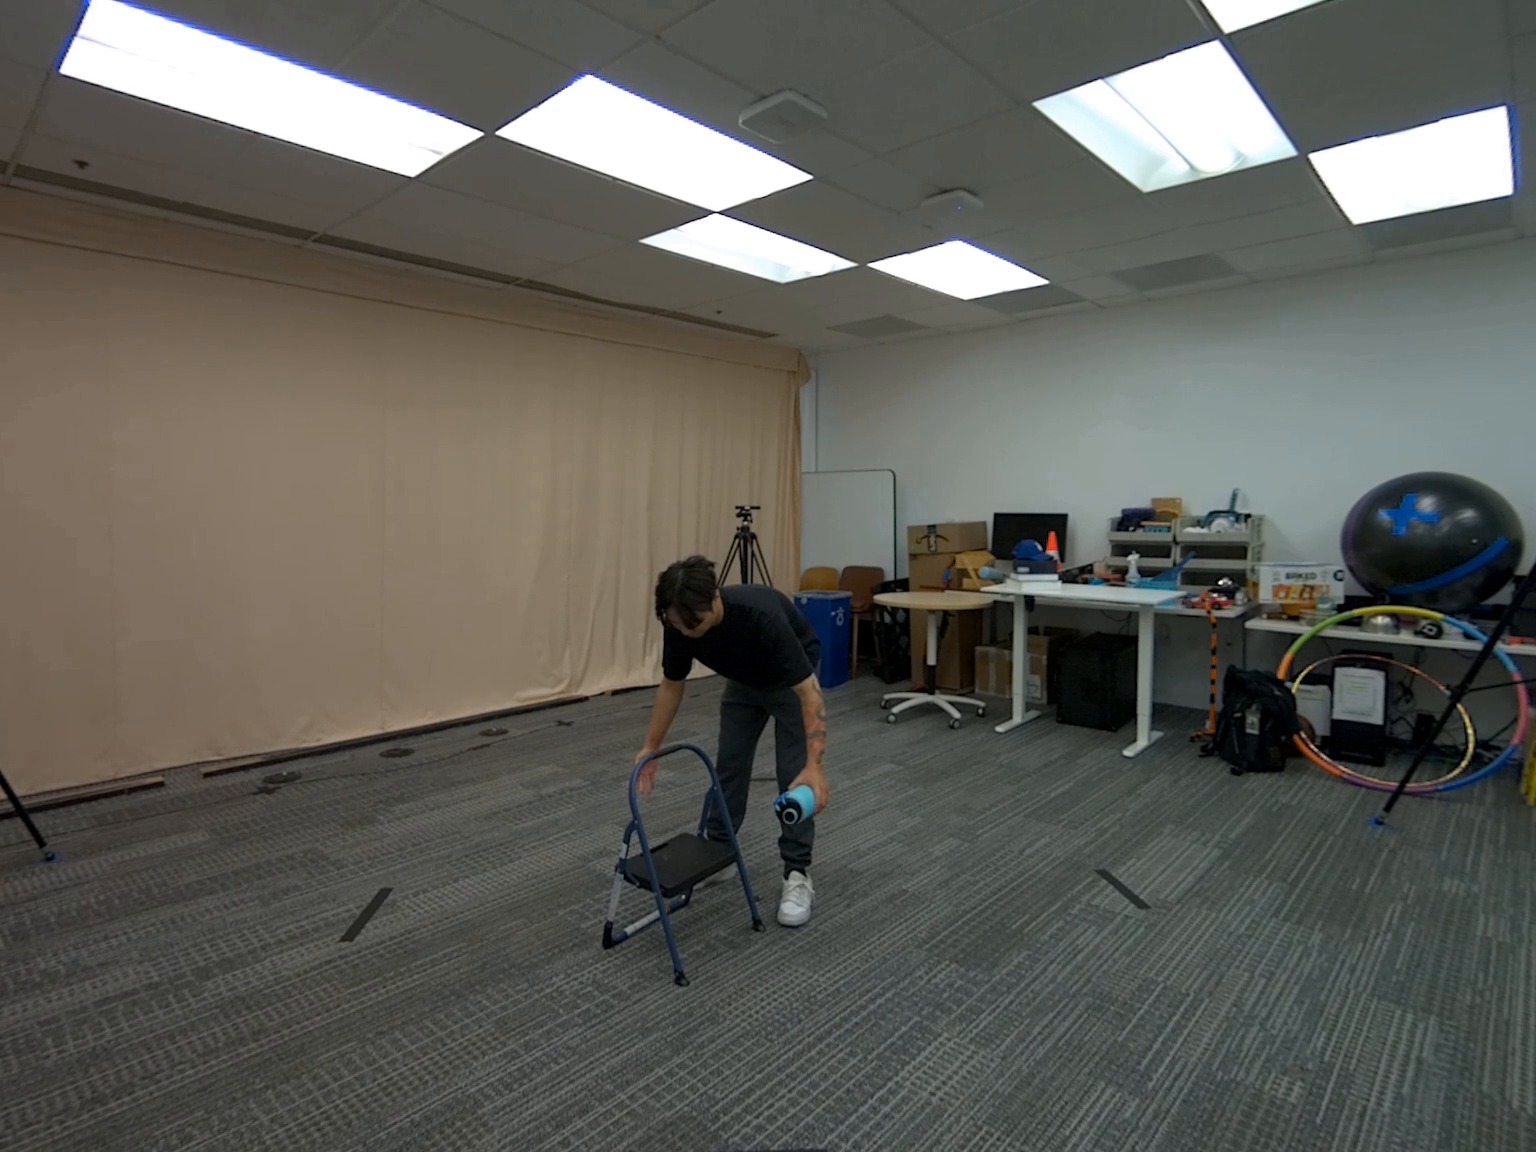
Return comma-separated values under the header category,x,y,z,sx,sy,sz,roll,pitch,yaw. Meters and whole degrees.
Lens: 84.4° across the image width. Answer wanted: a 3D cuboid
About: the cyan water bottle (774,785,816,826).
category,x,y,z,sx,sy,sz,roll,pitch,yaw
cyan water bottle,0.084,0.677,2.526,0.094,0.092,0.277,1,-3,19
